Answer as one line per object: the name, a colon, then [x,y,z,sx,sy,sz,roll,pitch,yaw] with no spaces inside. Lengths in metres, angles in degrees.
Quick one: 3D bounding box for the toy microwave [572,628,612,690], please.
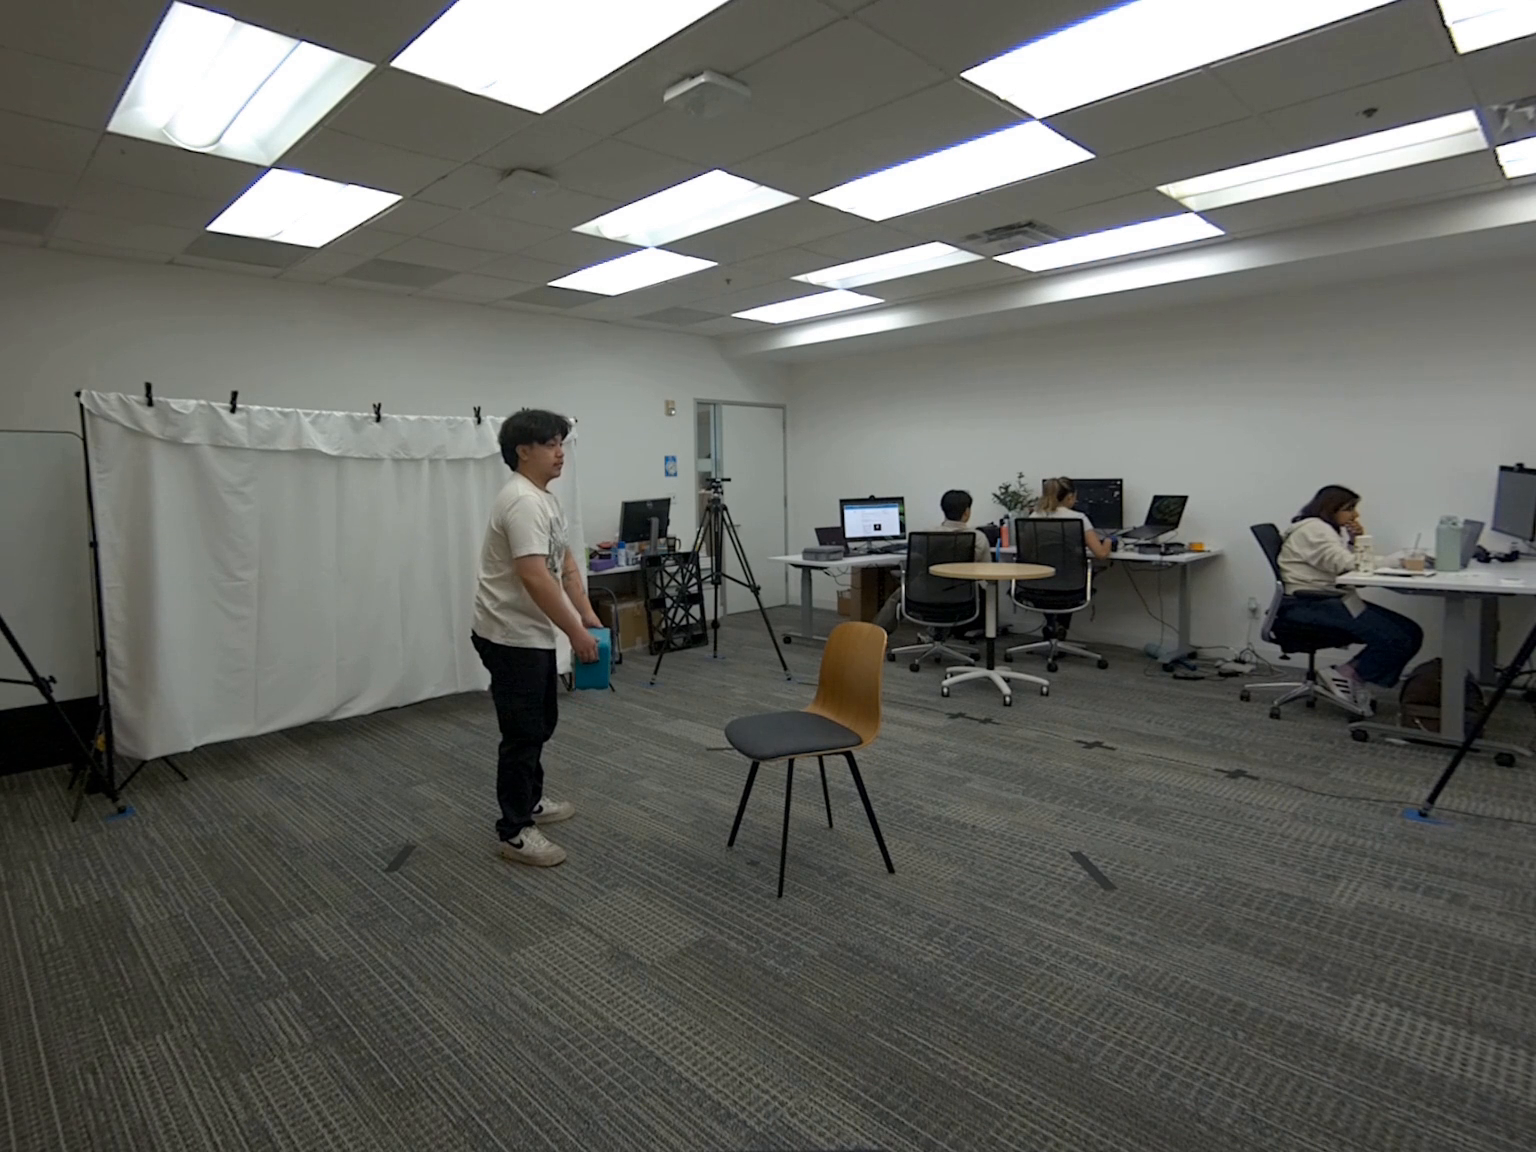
toy microwave: [-0.690,0.318,3.302,0.151,0.183,0.290,1,8,-10]
